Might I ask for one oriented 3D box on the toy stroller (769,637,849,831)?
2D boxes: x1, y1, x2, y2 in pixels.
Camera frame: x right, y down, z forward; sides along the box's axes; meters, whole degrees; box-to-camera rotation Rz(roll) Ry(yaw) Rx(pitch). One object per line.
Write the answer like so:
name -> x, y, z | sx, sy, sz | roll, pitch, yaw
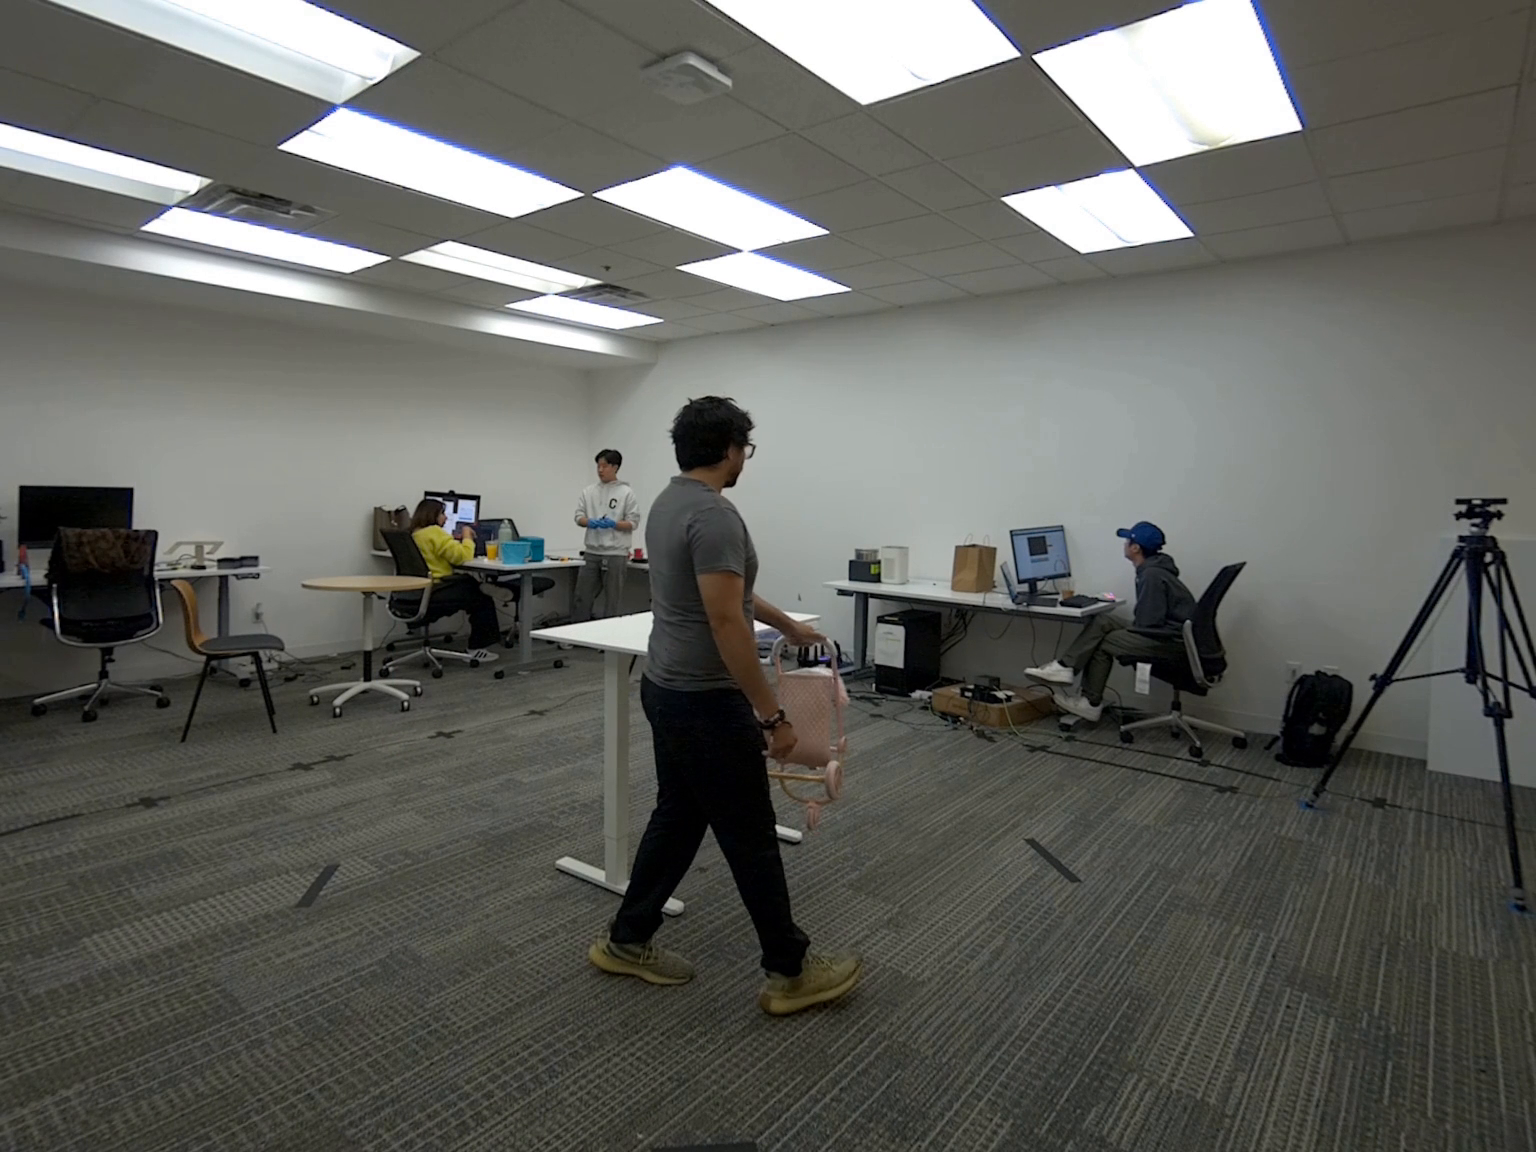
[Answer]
toy stroller -> 0.120, 0.497, 2.681 | 0.288, 0.545, 0.327 | -5, -28, 23
